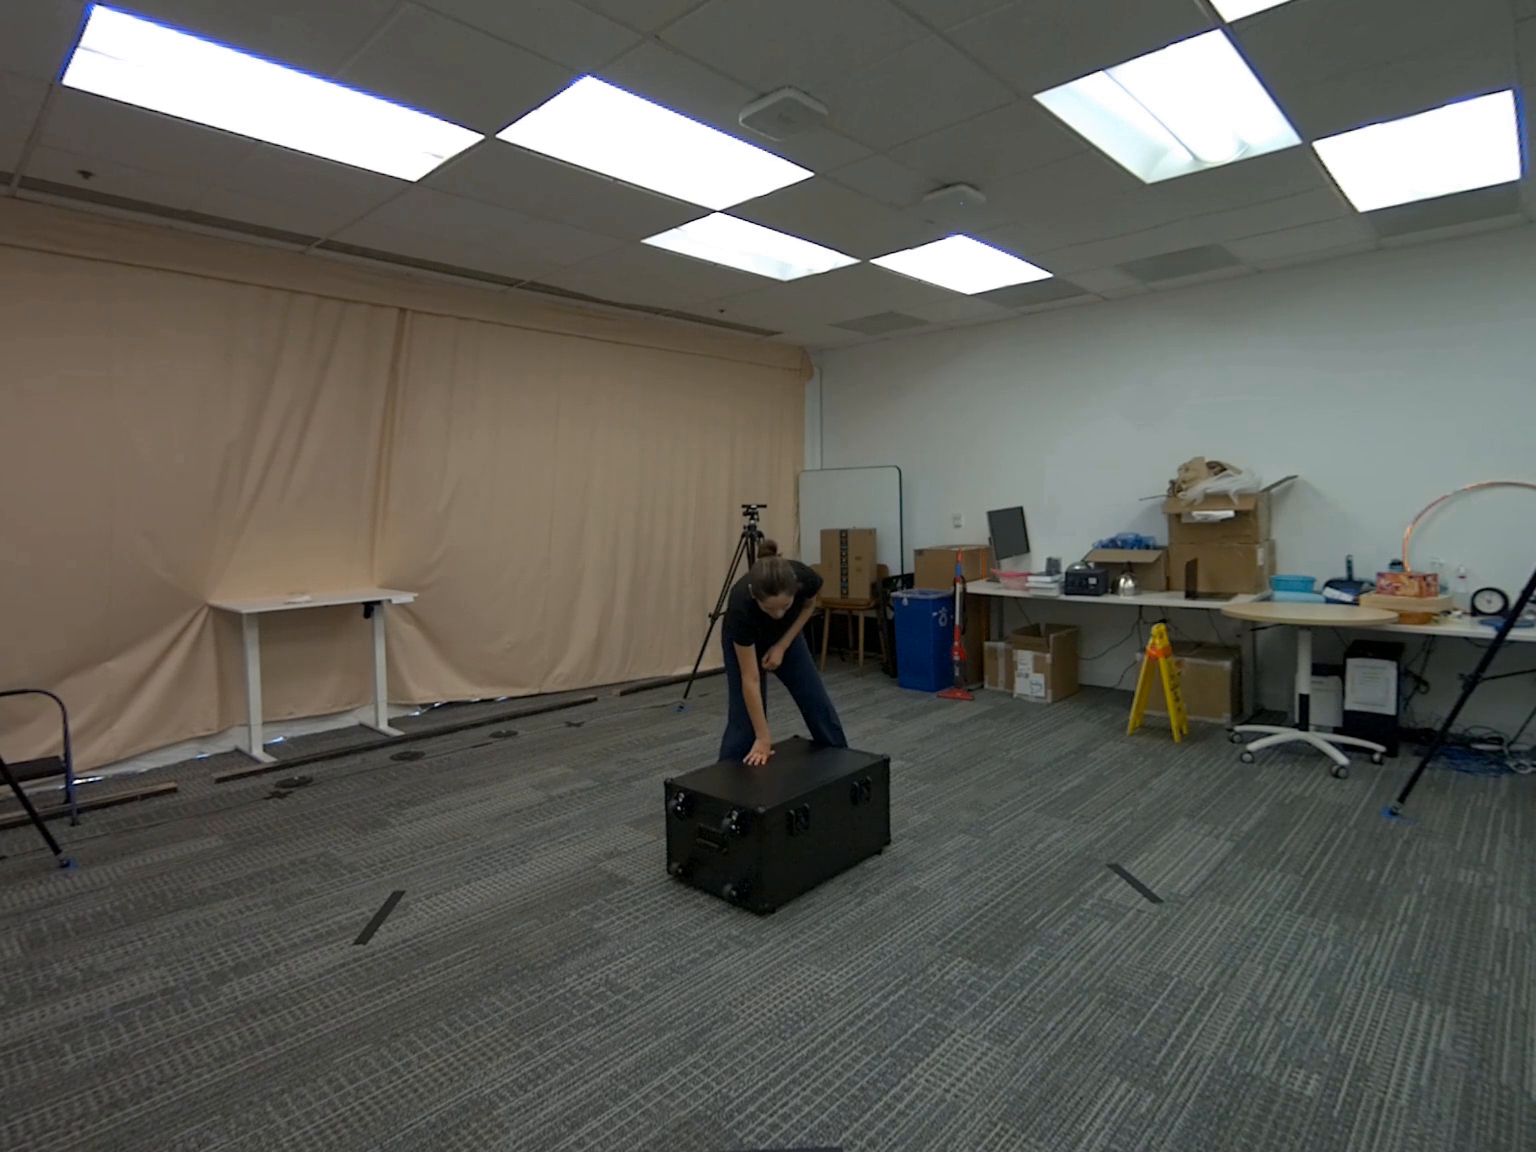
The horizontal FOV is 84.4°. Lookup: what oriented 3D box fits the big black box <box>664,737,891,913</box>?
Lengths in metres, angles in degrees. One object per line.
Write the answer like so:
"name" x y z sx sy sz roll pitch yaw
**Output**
"big black box" 0.047 0.912 3.219 0.538 0.395 0.836 2 6 42
